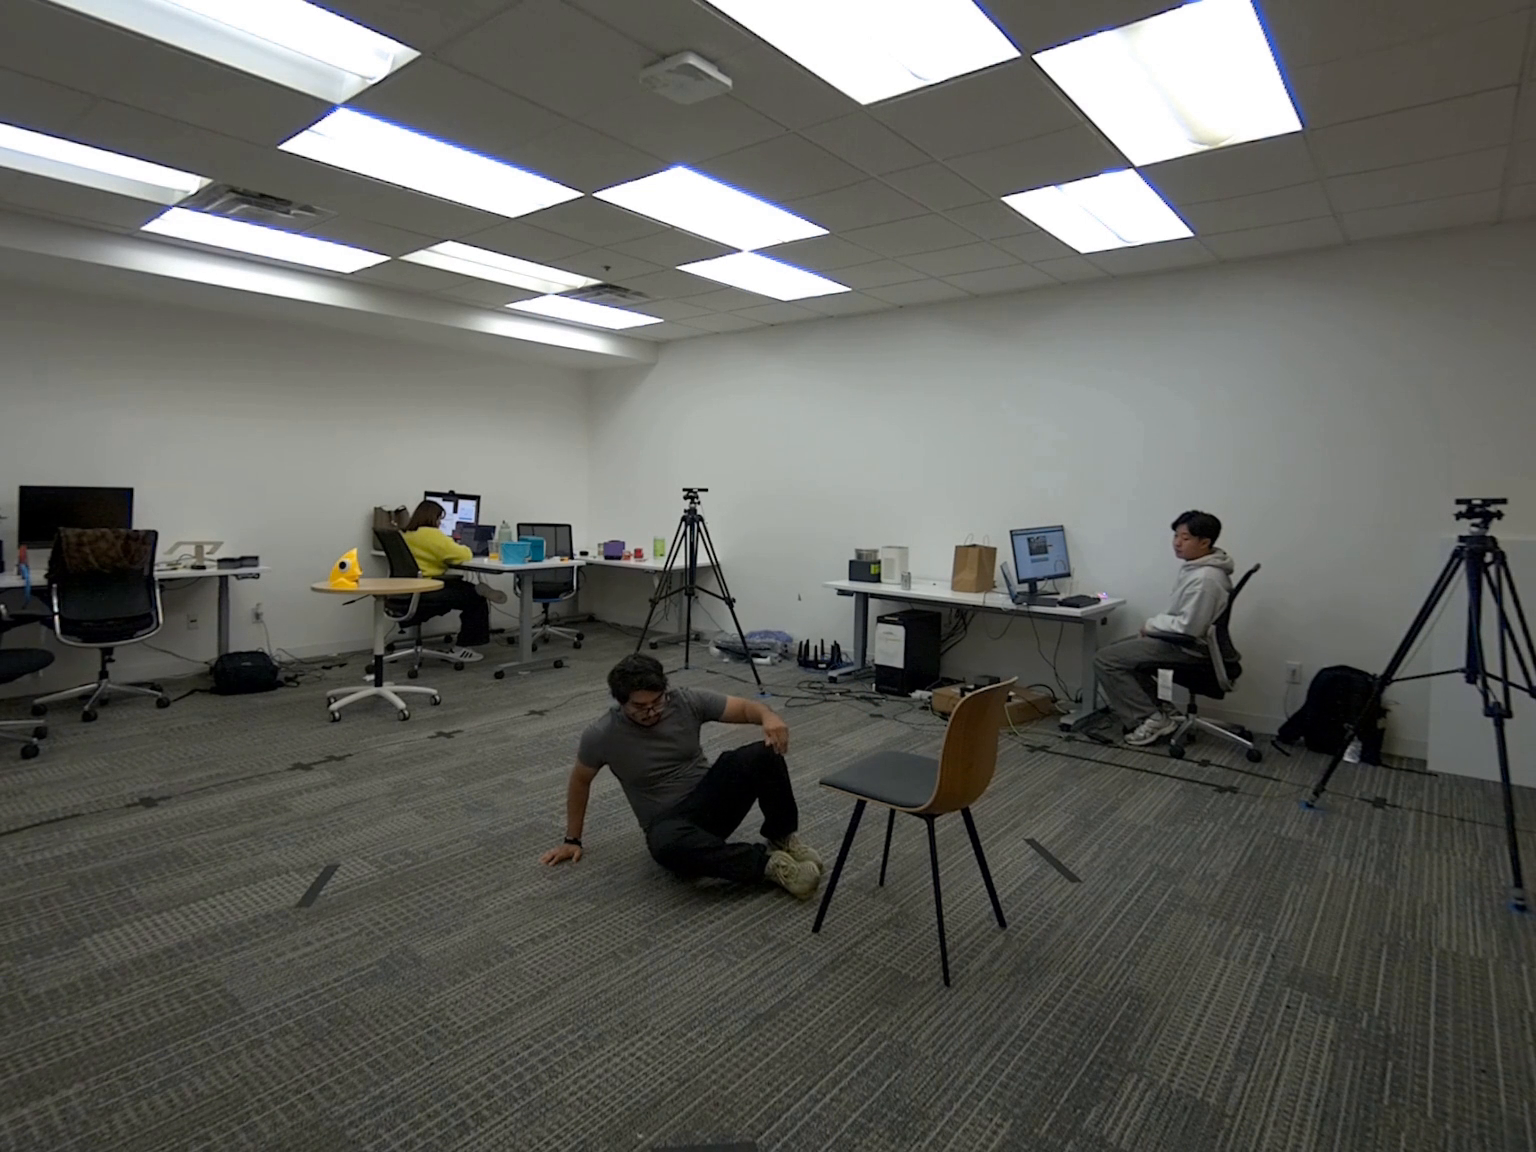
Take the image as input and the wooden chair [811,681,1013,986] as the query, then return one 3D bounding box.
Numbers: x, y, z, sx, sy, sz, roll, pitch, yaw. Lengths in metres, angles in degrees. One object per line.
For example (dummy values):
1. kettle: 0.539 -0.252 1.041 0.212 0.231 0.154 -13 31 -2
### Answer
1. wooden chair: 0.453 0.700 2.690 0.542 0.873 0.464 9 7 37
